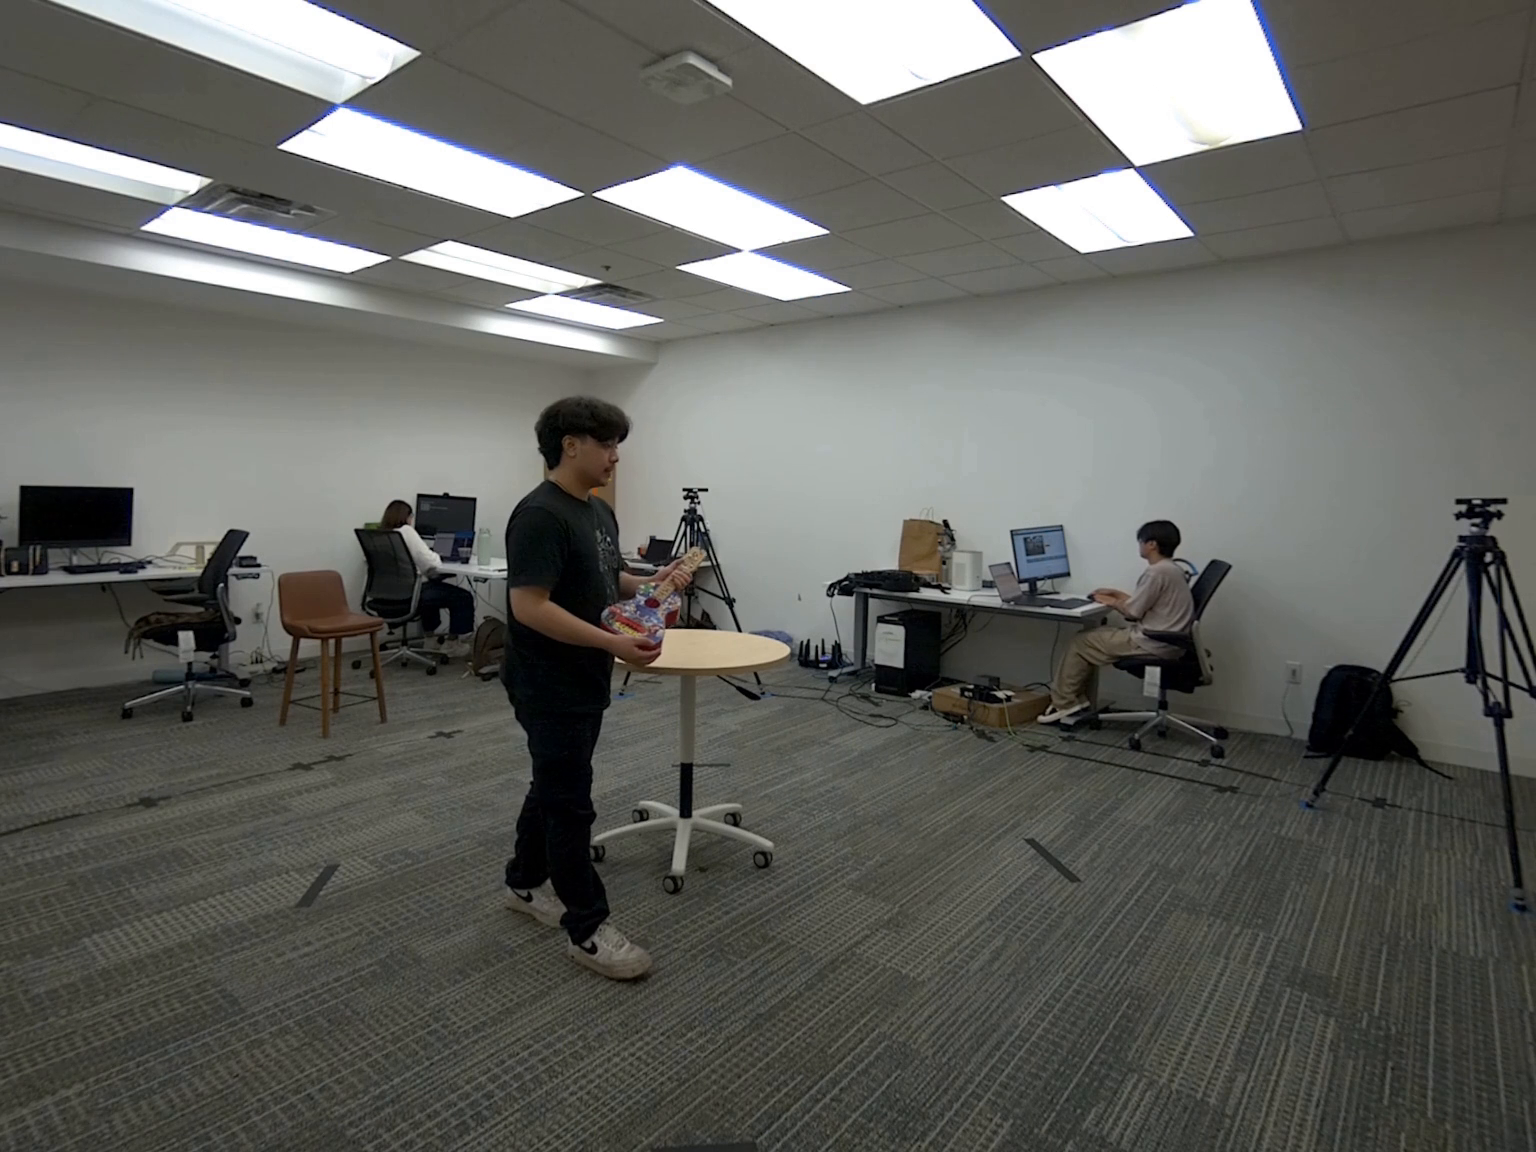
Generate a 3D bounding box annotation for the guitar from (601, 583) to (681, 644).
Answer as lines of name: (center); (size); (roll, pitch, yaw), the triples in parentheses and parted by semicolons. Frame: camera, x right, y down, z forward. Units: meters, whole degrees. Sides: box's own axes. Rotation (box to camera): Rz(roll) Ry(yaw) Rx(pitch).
guitar: (-0.311, 0.073, 2.579); (0.199, 0.069, 0.494); (28, 40, 21)
